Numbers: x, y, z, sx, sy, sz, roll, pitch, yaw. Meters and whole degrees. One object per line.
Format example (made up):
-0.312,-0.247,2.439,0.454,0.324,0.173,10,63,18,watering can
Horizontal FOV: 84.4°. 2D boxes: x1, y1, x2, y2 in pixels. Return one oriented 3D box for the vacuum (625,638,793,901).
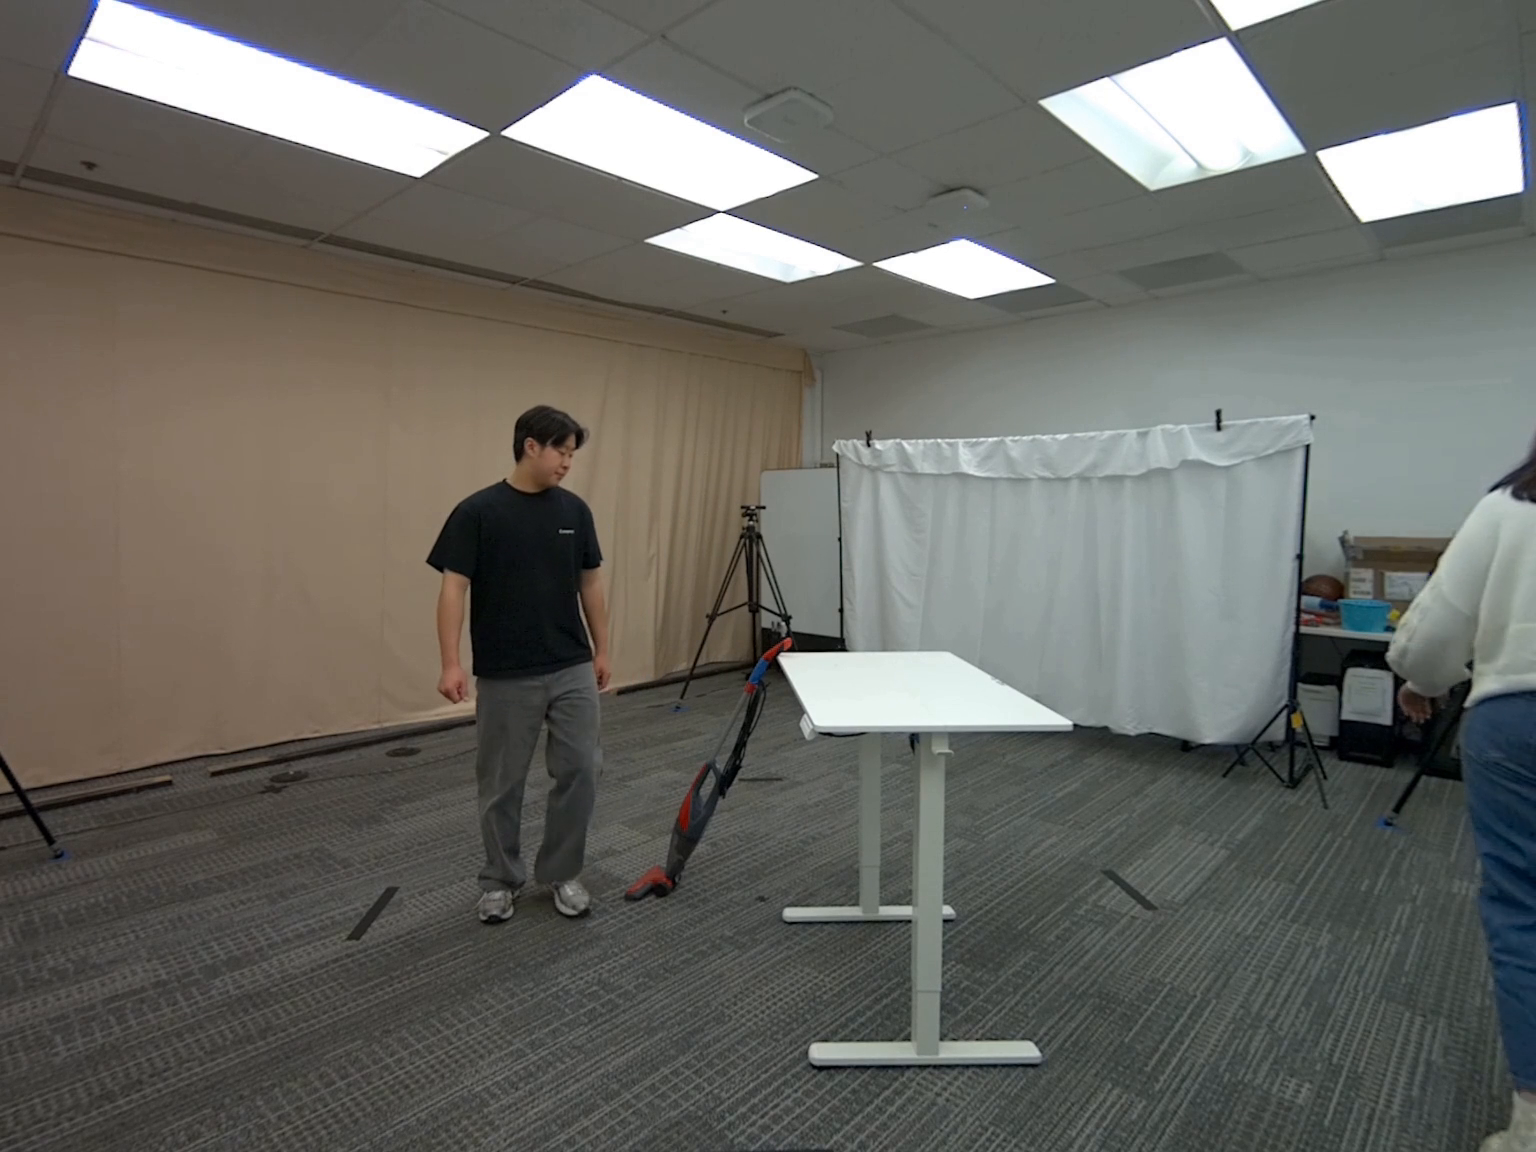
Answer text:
-0.168,0.685,2.961,0.147,1.048,0.247,32,13,15,vacuum
